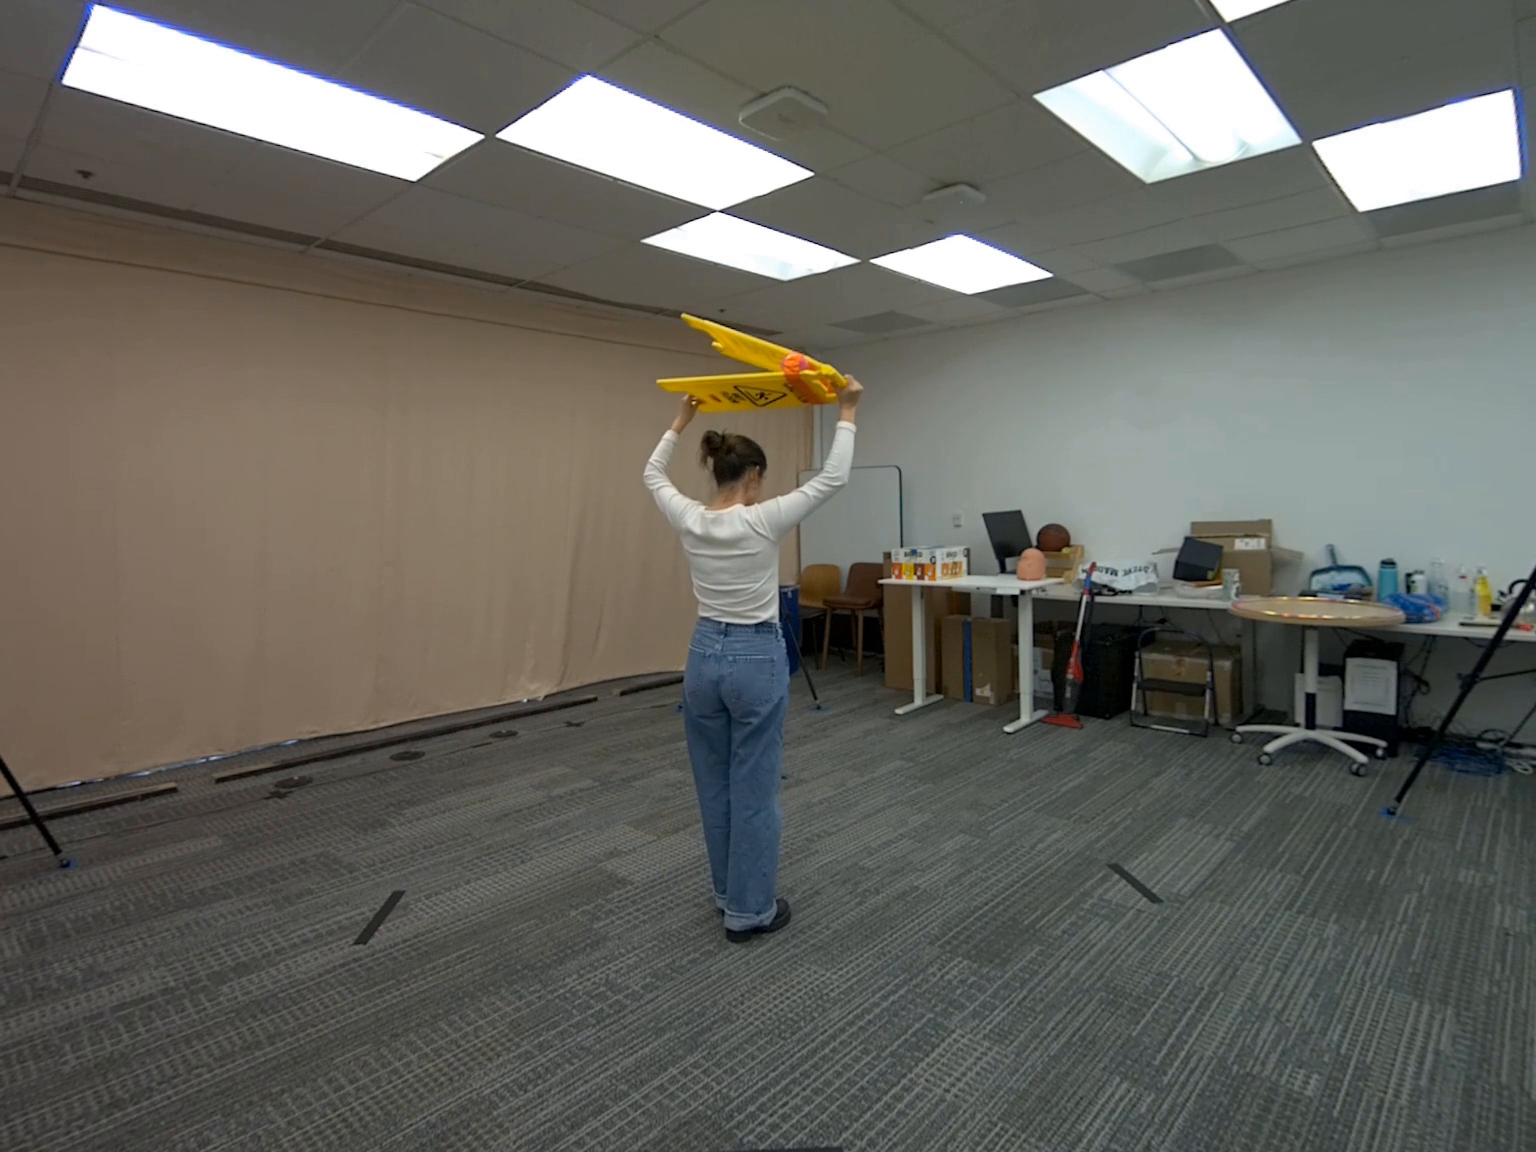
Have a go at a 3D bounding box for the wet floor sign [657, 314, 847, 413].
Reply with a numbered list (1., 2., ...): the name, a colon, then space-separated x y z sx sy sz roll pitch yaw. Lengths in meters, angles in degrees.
1. wet floor sign: -0.008 -0.675 2.808 0.667 0.290 0.273 15 -7 32
